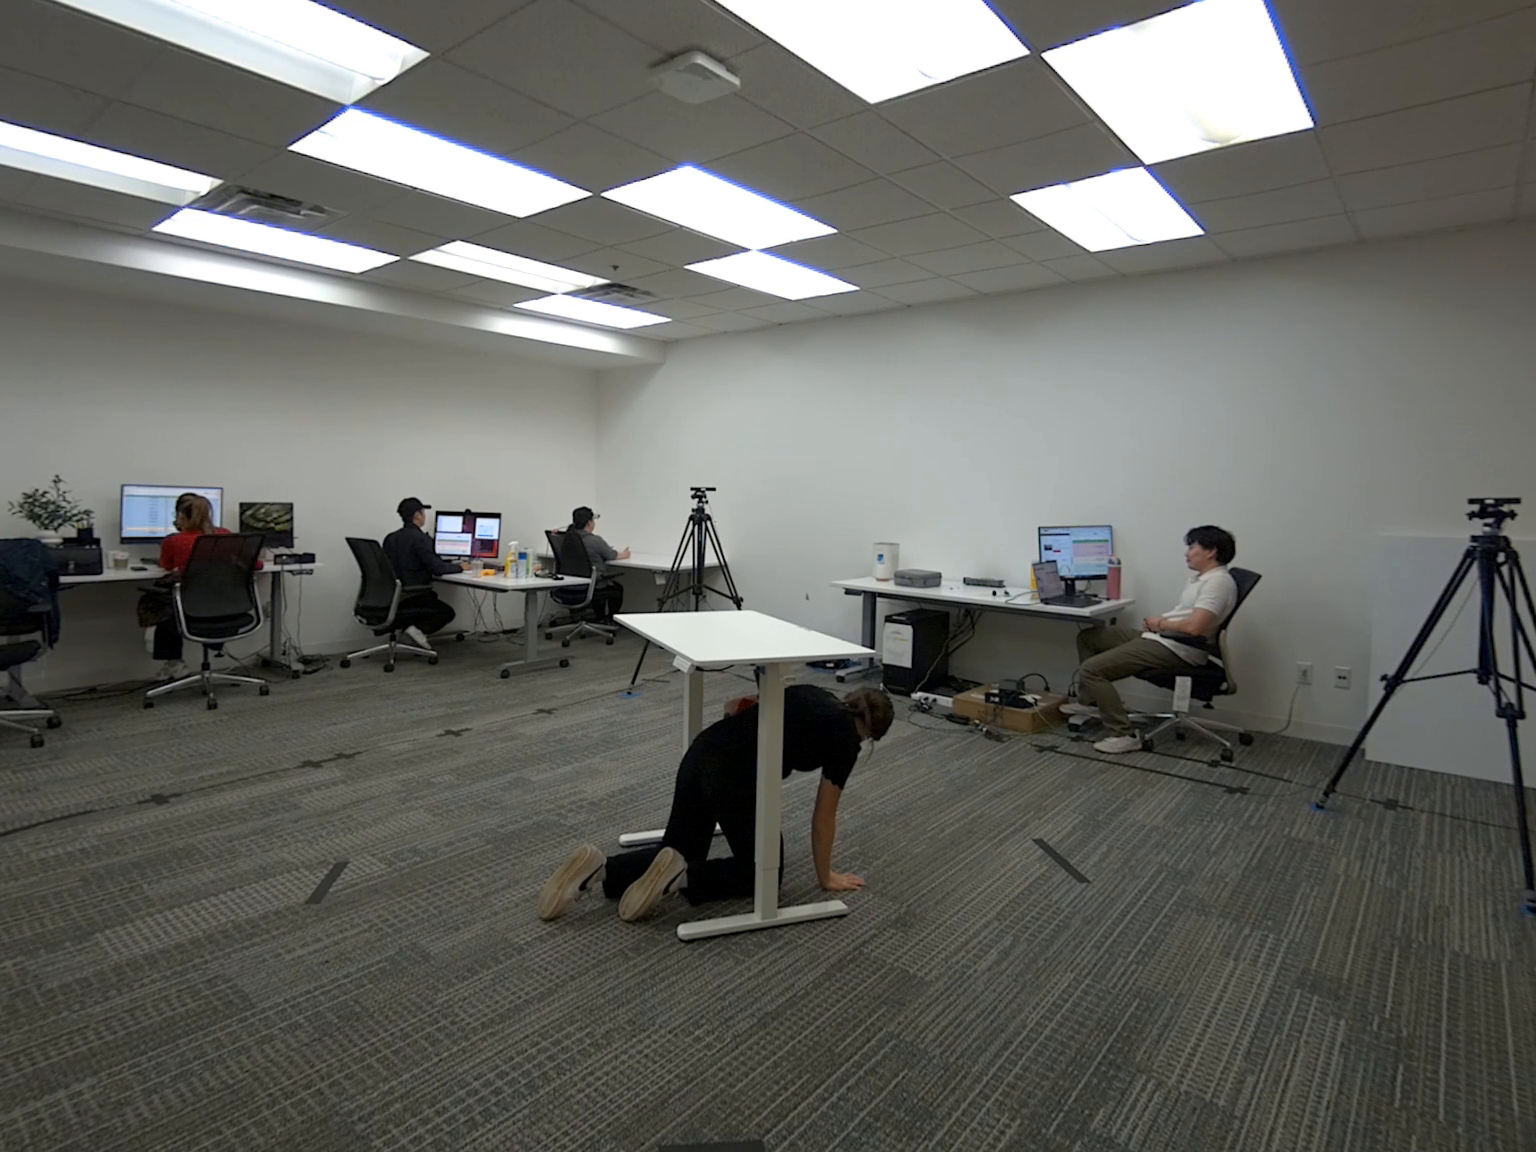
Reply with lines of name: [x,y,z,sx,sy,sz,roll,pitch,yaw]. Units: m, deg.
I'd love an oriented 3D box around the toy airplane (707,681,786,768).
toy airplane: [-0.058,0.561,3.152,0.255,0.250,0.160,-13,5,-23]
